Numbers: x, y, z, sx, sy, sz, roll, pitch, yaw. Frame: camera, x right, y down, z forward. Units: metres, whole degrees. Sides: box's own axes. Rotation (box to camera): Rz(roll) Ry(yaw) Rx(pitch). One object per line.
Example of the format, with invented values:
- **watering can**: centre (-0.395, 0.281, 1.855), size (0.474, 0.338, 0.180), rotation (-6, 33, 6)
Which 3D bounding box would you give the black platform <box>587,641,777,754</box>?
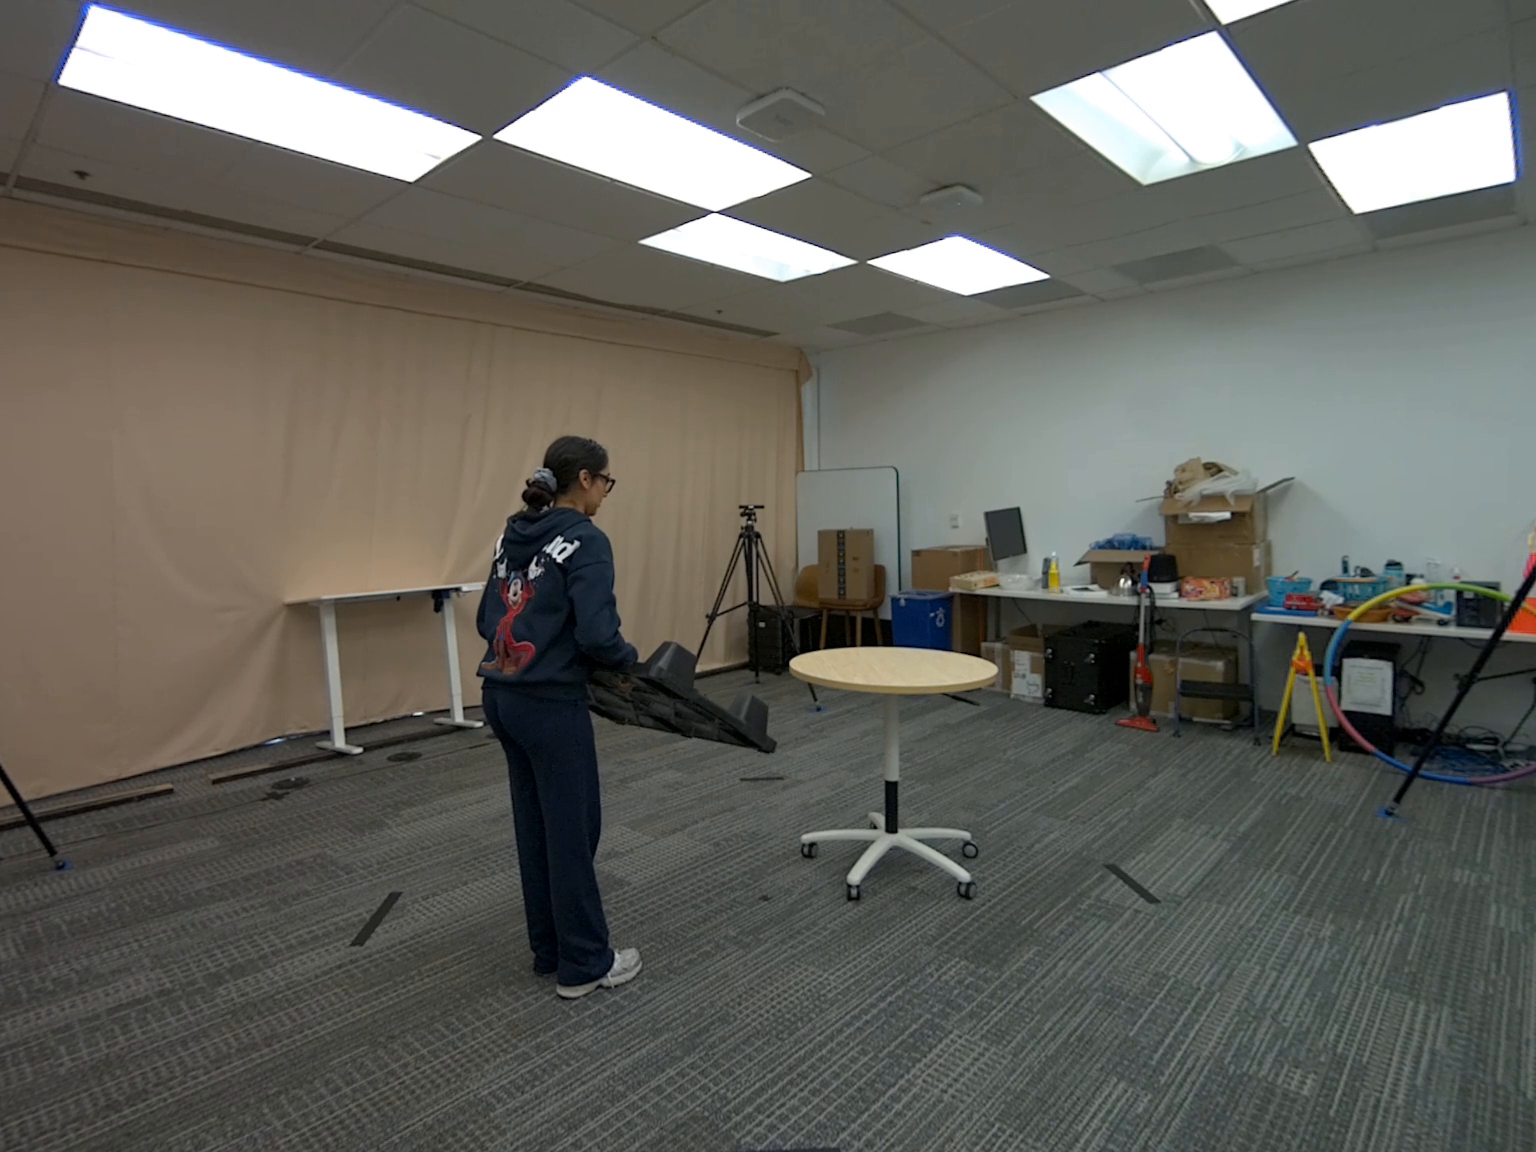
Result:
- **black platform**: centre (-0.422, 0.355, 2.731), size (0.832, 0.144, 0.583), rotation (1, -29, 42)
